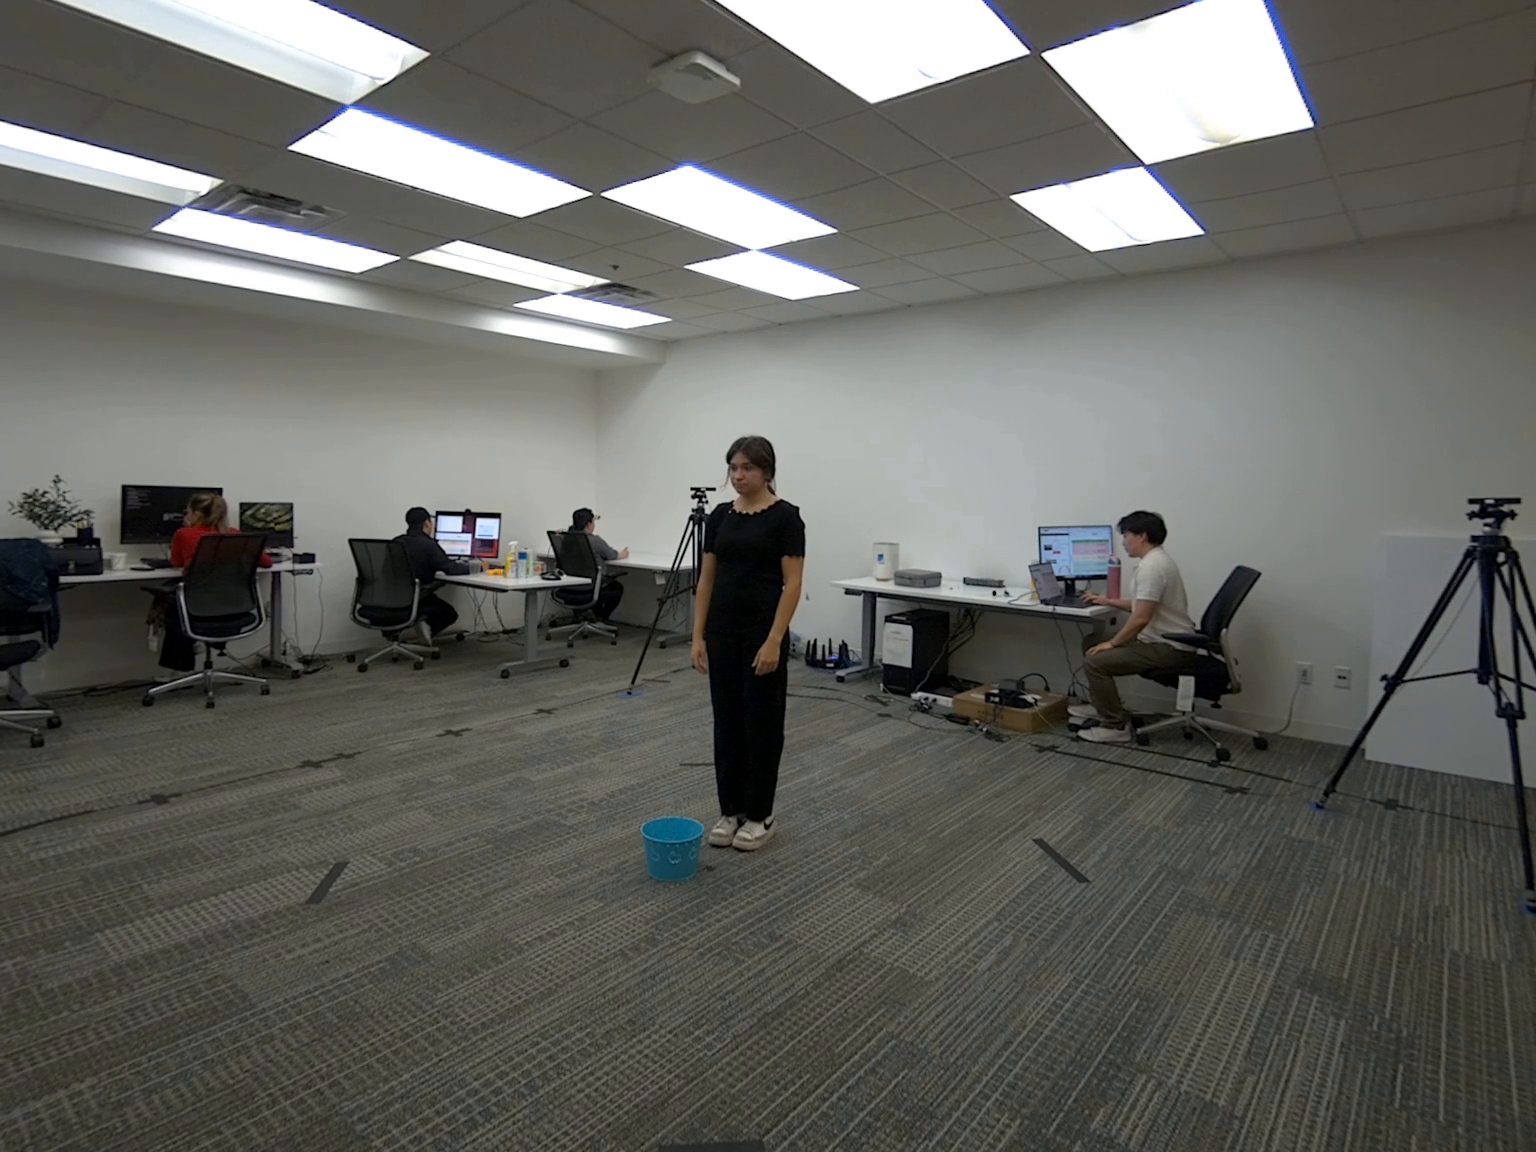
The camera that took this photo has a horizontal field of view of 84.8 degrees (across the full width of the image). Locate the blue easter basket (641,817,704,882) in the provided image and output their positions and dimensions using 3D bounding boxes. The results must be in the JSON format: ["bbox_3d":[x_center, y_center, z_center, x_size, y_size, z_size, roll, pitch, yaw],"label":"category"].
[{"bbox_3d":[-0.352,0.987,3.090,0.243,0.155,0.245,0,4,-2],"label":"blue easter basket"}]
